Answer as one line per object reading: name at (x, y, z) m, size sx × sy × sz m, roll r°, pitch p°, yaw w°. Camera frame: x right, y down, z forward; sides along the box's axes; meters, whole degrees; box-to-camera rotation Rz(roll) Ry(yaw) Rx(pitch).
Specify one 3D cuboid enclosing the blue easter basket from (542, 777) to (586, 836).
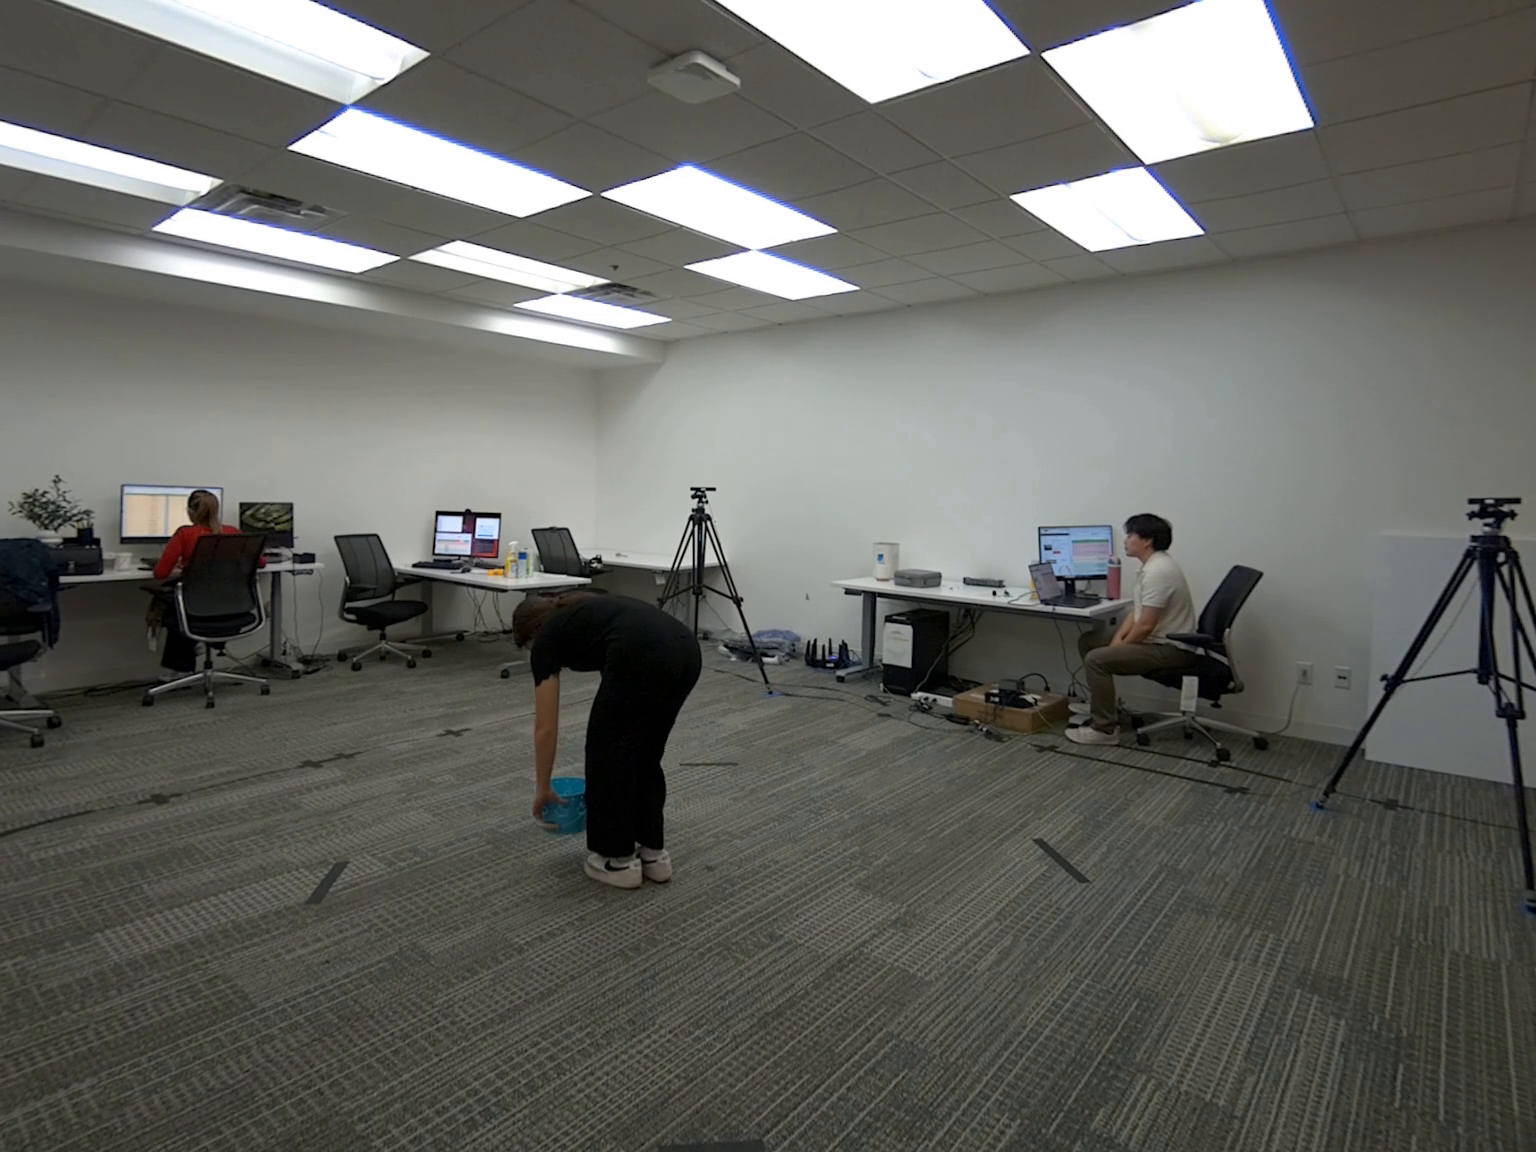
blue easter basket at (-0.775, 0.856, 3.148) m, size 0.243 × 0.155 × 0.244 m, roll 2°, pitch 3°, yaw -2°
